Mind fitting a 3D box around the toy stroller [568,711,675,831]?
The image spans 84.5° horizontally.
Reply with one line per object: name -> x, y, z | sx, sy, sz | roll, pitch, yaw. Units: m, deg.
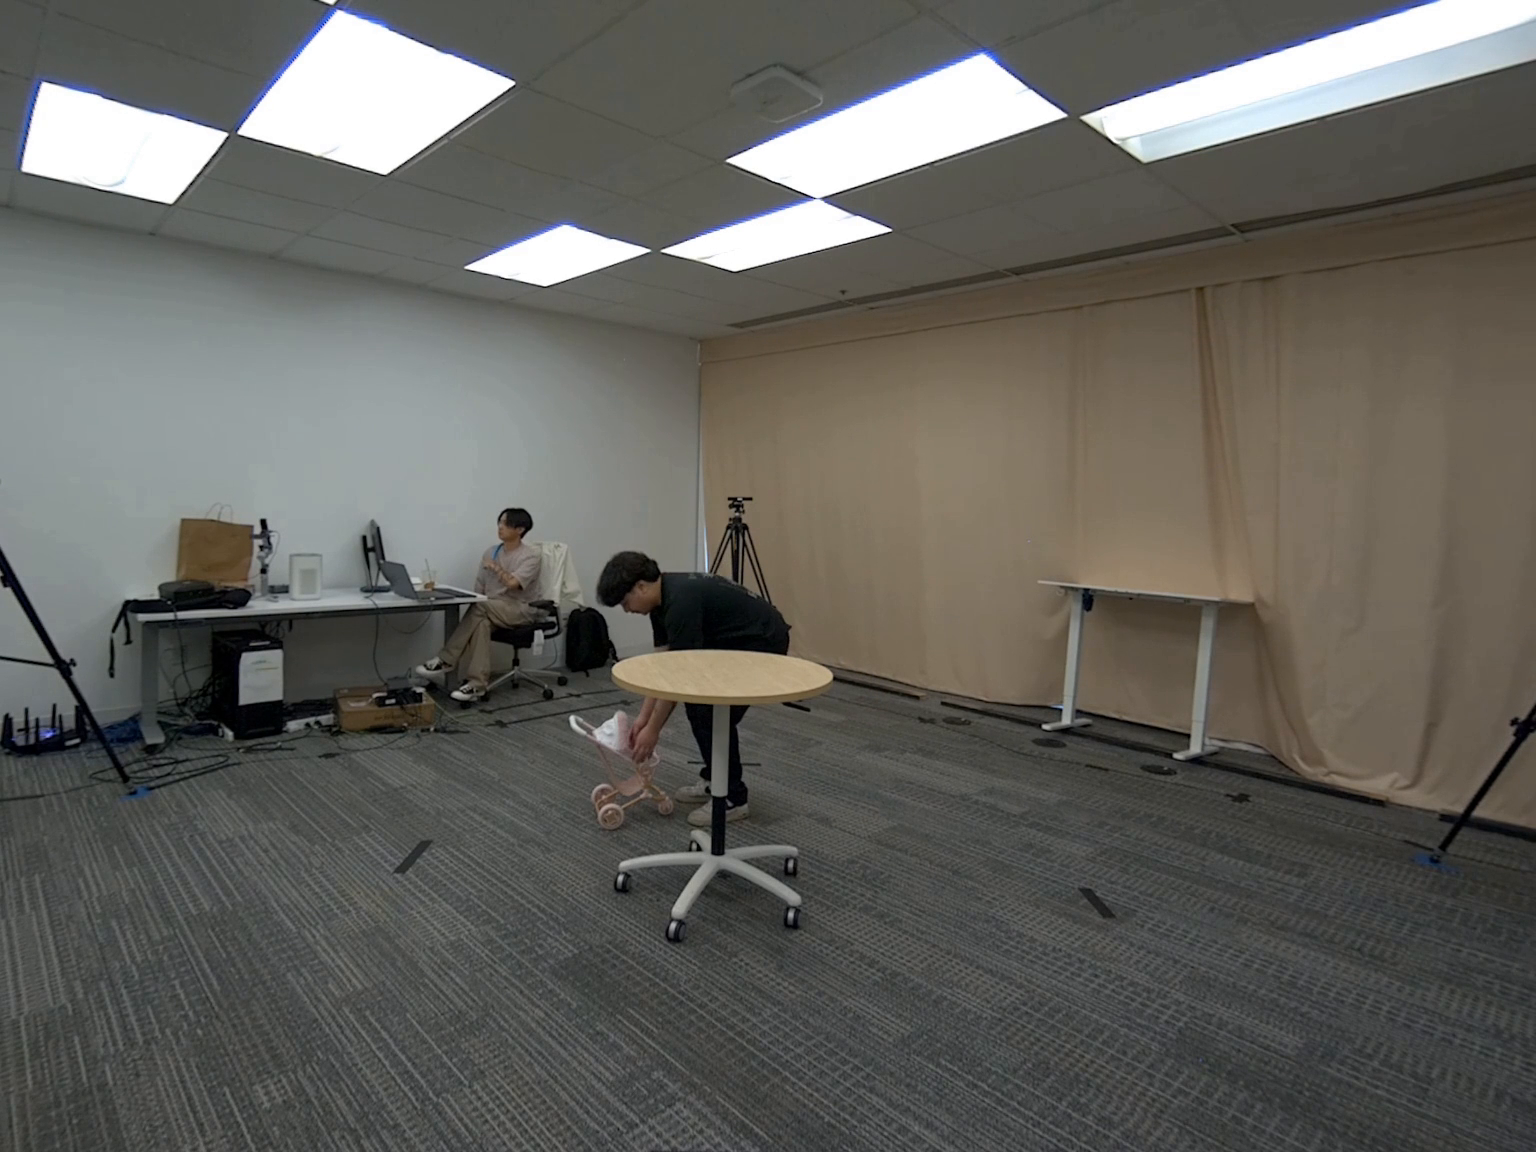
toy stroller -> -0.633, 0.827, 3.637 | 0.339, 0.532, 0.284 | -14, 6, -10
